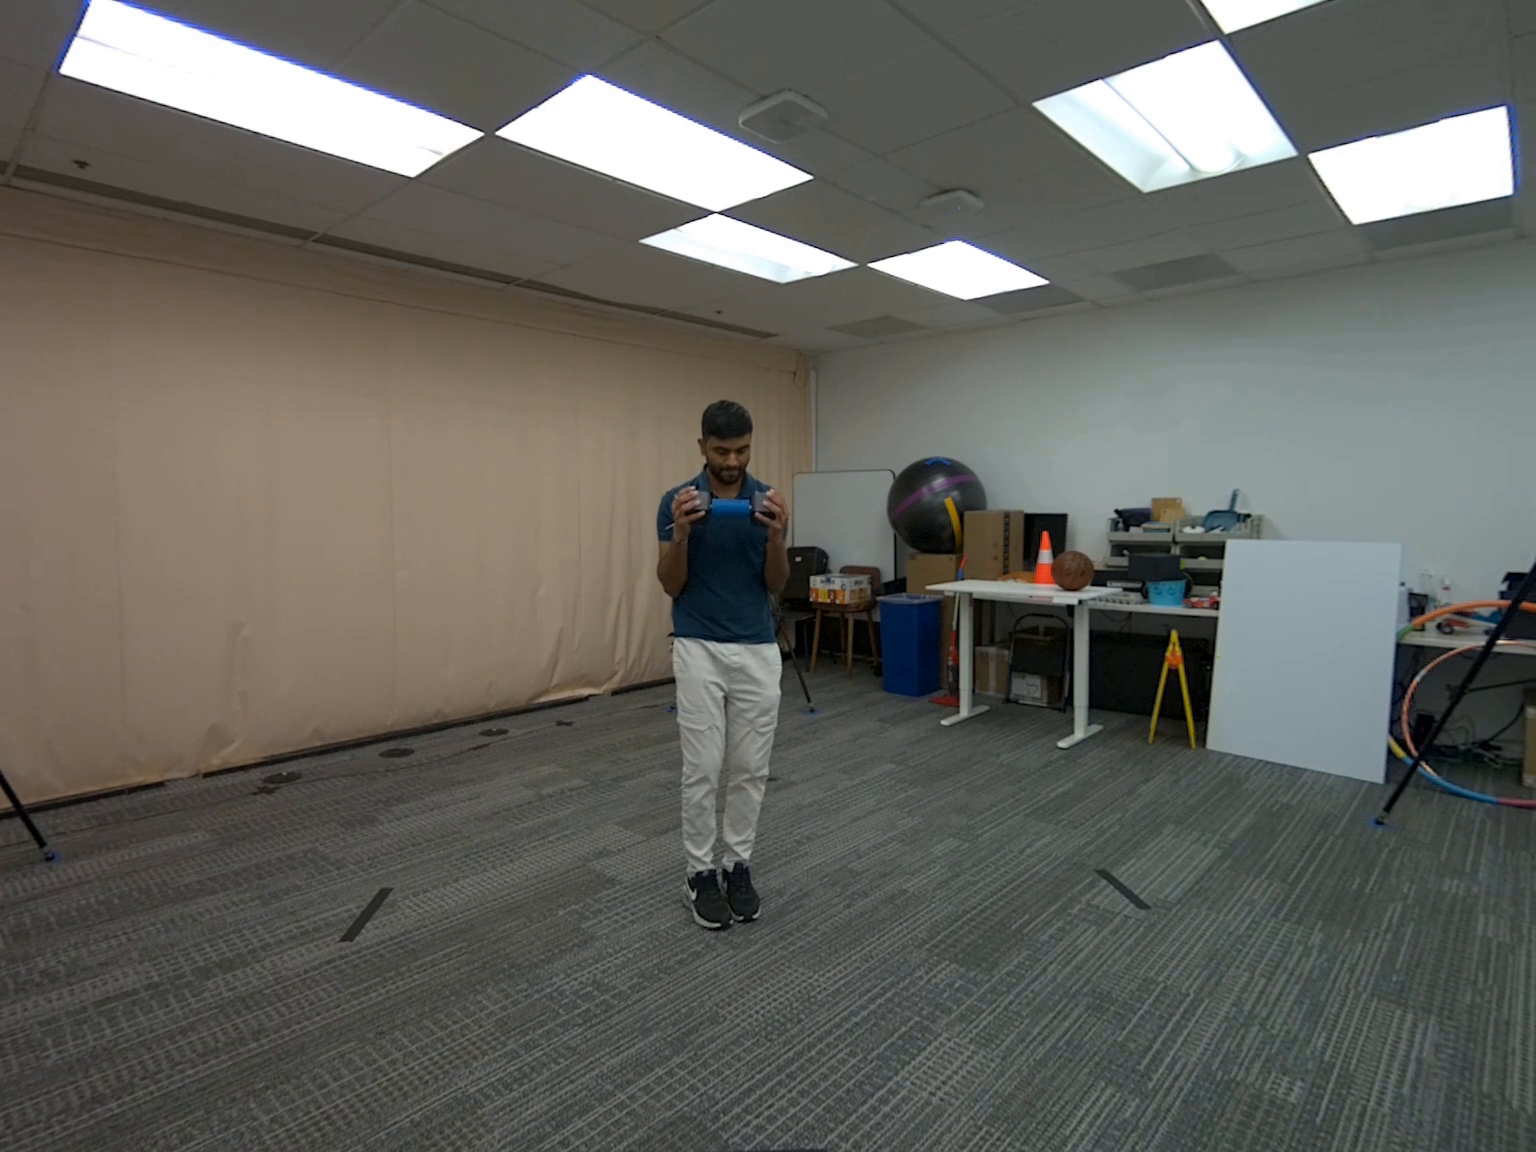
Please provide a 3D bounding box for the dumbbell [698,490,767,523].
[{"bbox_3d":[-0.122,-0.195,2.754,0.294,0.107,0.124,4,32,1],"label":"dumbbell"}]
